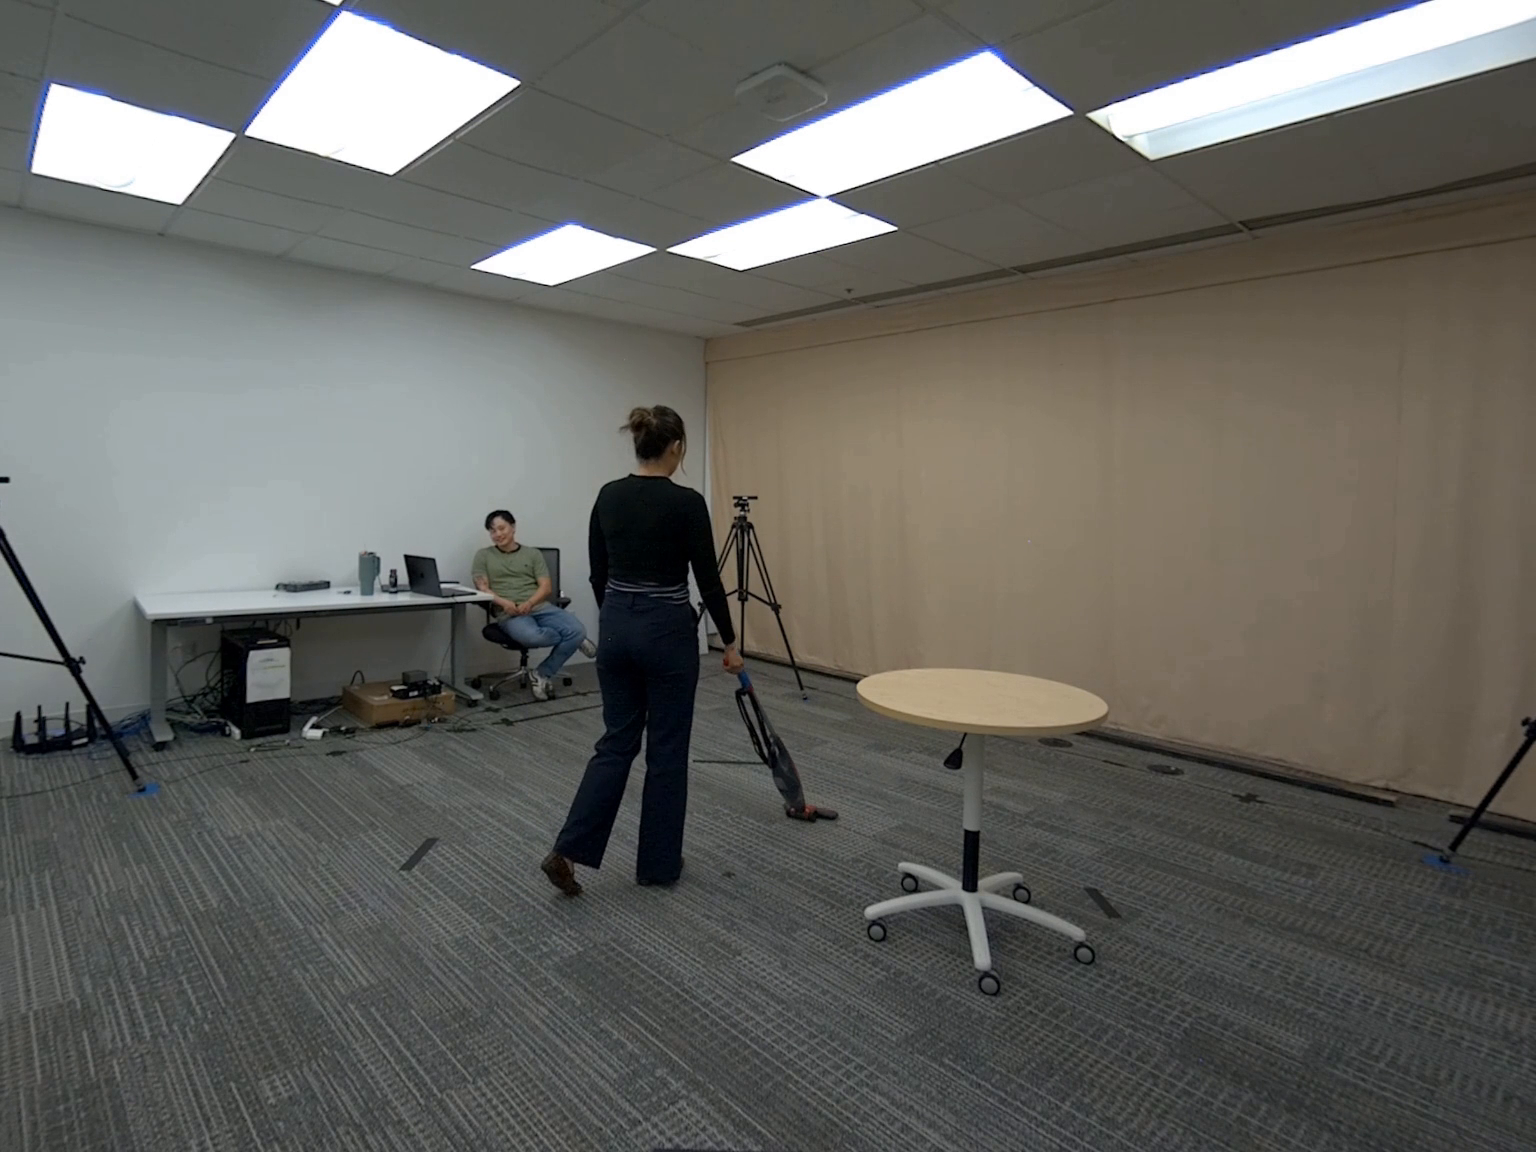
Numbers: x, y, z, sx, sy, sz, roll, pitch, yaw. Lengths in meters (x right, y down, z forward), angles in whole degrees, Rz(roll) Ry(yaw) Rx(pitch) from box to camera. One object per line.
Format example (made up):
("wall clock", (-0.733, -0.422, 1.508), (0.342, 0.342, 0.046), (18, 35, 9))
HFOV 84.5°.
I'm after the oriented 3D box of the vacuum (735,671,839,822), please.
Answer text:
("vacuum", (0.002, 0.679, 3.406), (0.259, 1.019, 0.145), (7, 48, 33))
